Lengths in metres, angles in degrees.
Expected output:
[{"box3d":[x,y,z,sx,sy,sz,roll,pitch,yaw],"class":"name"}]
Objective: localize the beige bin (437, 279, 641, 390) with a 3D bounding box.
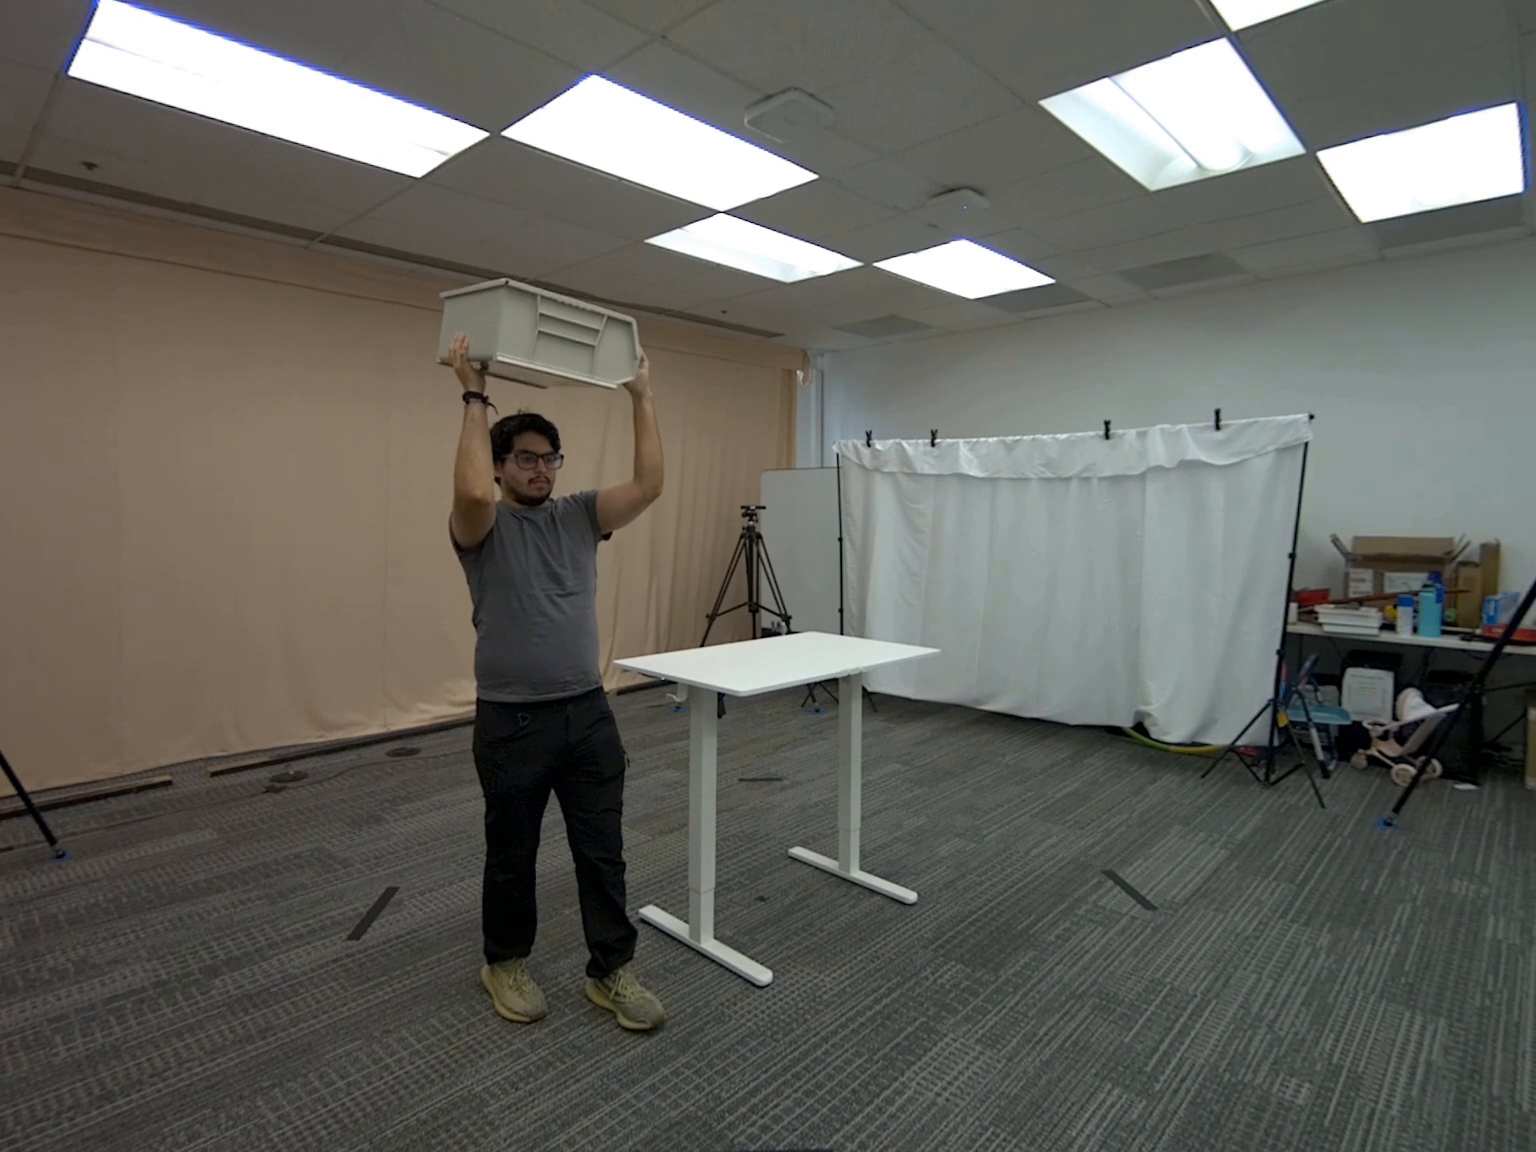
[{"box3d":[-0.588,-0.592,2.129,0.365,0.188,0.437,5,8,-39],"class":"beige bin"}]
